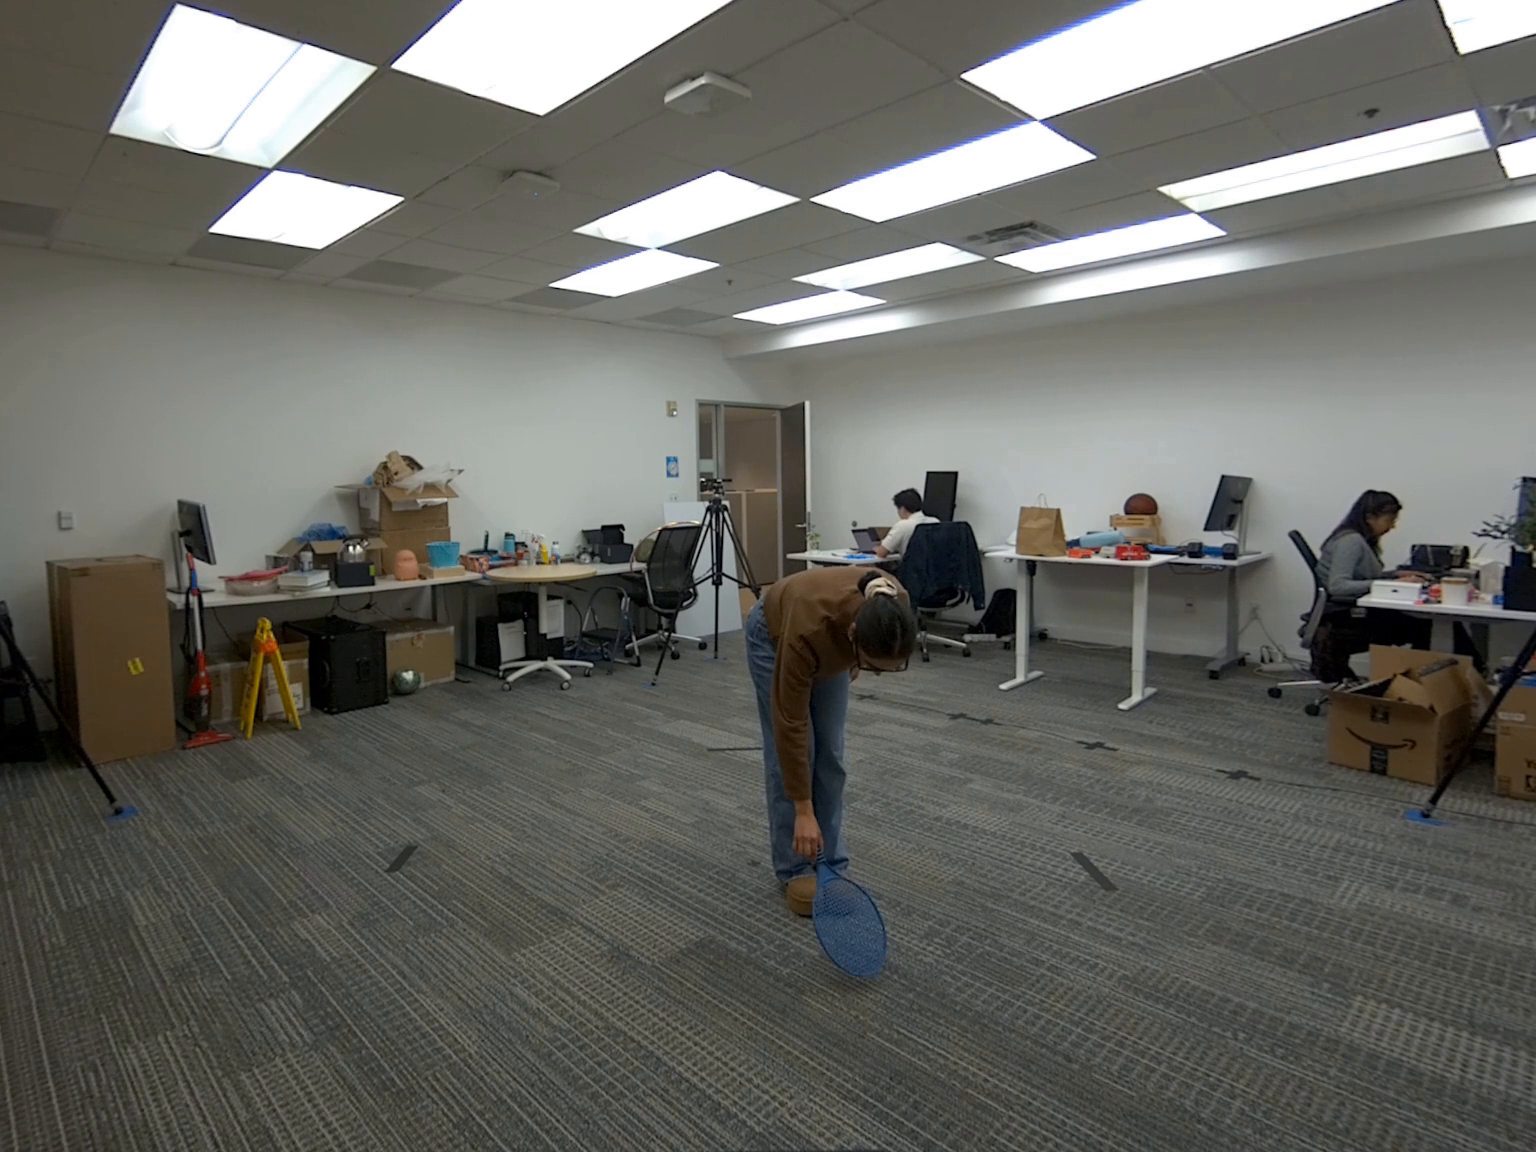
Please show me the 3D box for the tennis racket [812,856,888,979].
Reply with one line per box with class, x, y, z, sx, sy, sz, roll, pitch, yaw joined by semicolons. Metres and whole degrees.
tennis racket;0.202;0.911;2.442;0.209;0.447;0.031;-7;-34;-29
